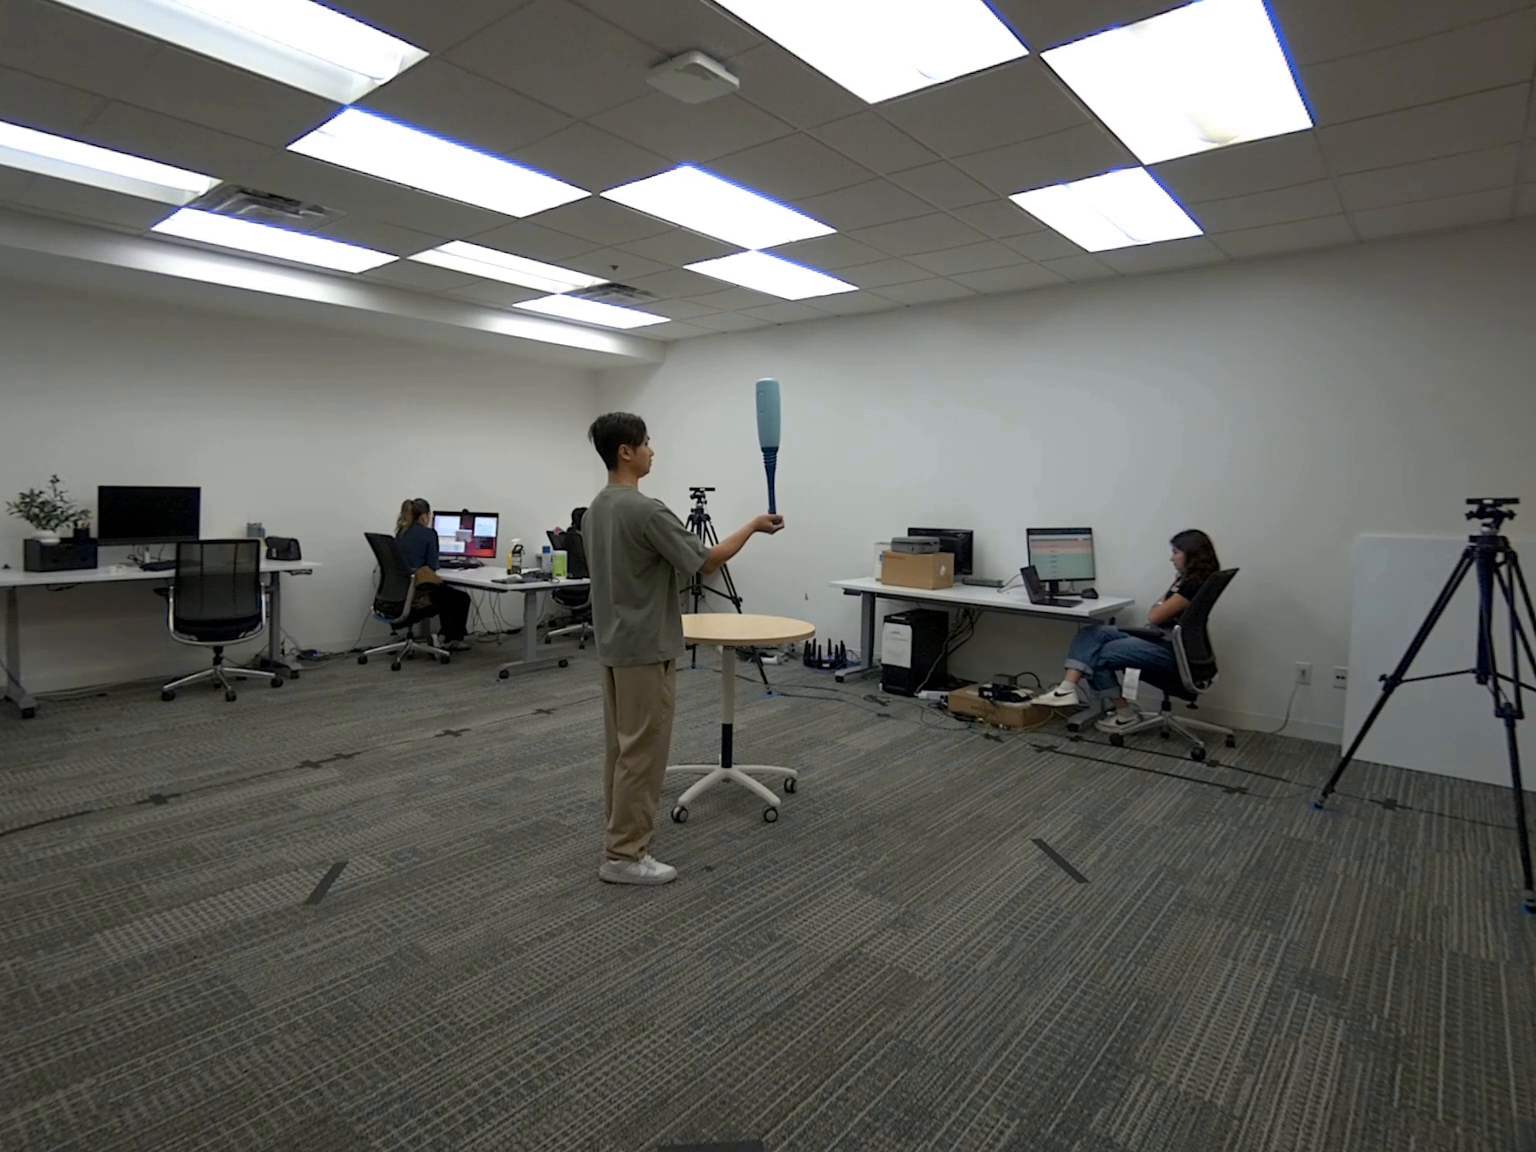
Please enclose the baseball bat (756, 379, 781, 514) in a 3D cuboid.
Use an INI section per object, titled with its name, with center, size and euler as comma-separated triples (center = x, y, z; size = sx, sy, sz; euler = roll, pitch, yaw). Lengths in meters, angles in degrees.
[baseball bat]
center = -0.003, -0.465, 3.156
size = 0.089, 0.541, 0.089
euler = -4, 3, -2
